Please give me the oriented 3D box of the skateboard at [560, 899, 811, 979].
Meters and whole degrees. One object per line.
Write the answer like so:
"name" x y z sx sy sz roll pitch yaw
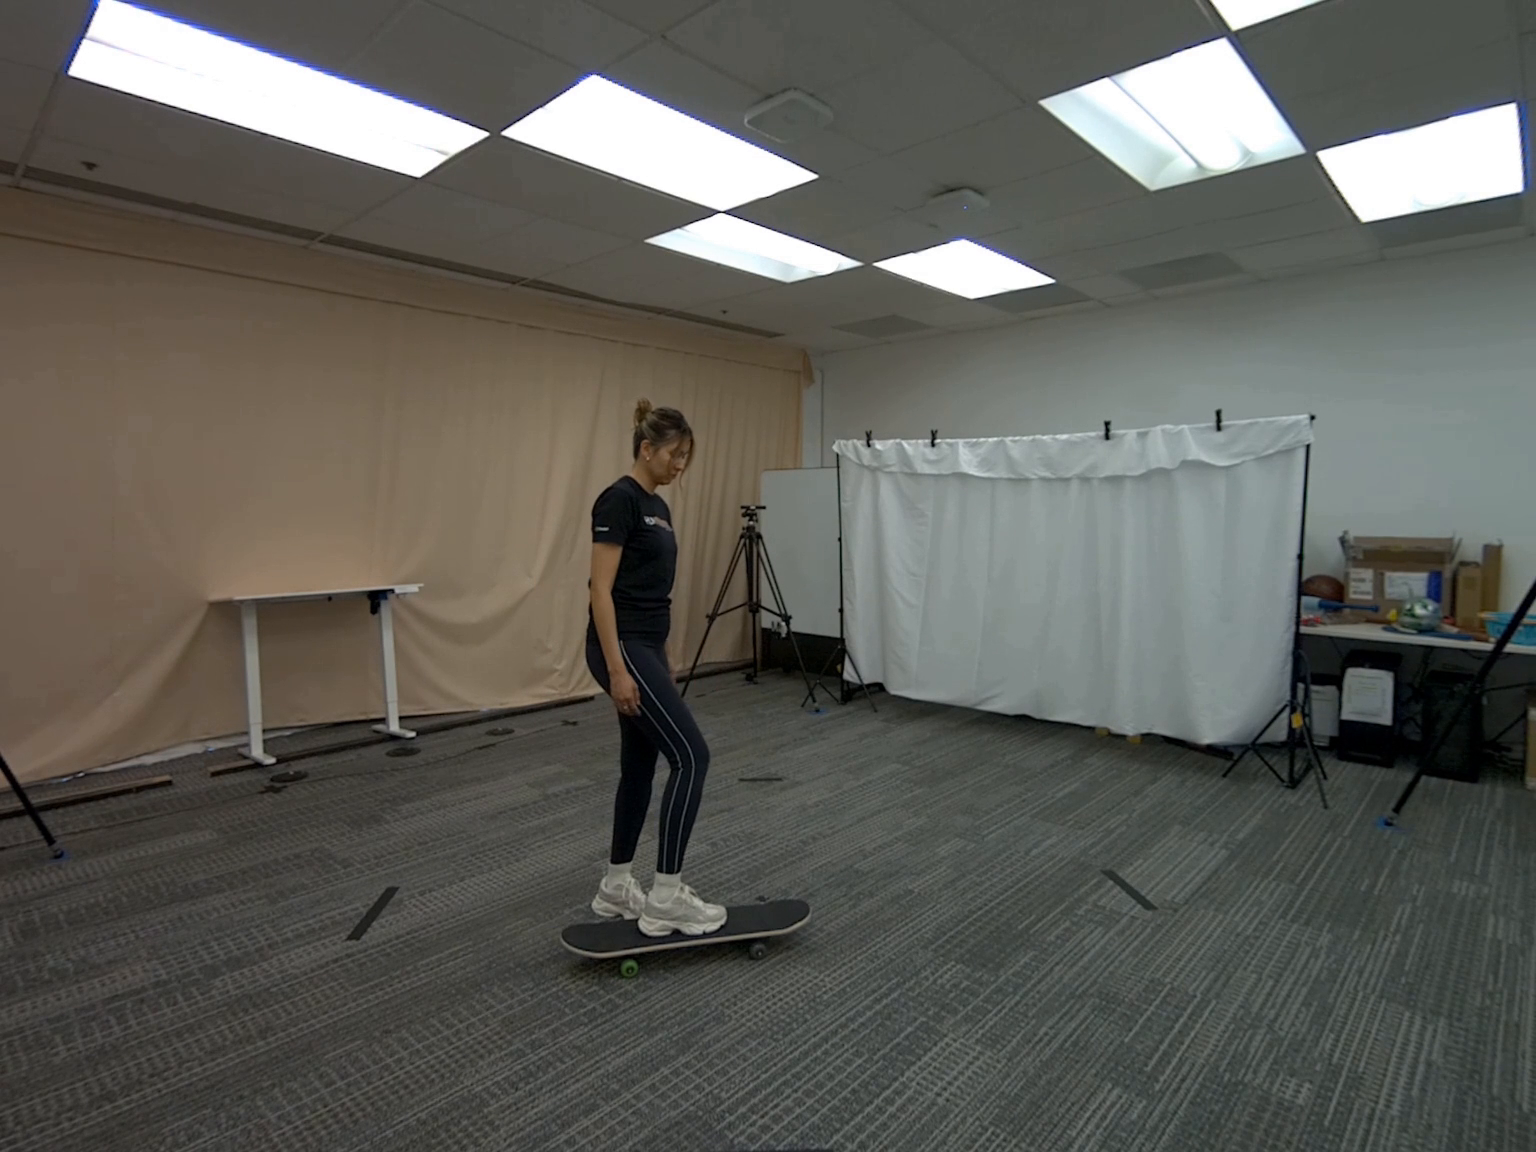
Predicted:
"skateboard" -0.233 1.120 2.610 0.773 0.110 0.197 -1 4 -14
